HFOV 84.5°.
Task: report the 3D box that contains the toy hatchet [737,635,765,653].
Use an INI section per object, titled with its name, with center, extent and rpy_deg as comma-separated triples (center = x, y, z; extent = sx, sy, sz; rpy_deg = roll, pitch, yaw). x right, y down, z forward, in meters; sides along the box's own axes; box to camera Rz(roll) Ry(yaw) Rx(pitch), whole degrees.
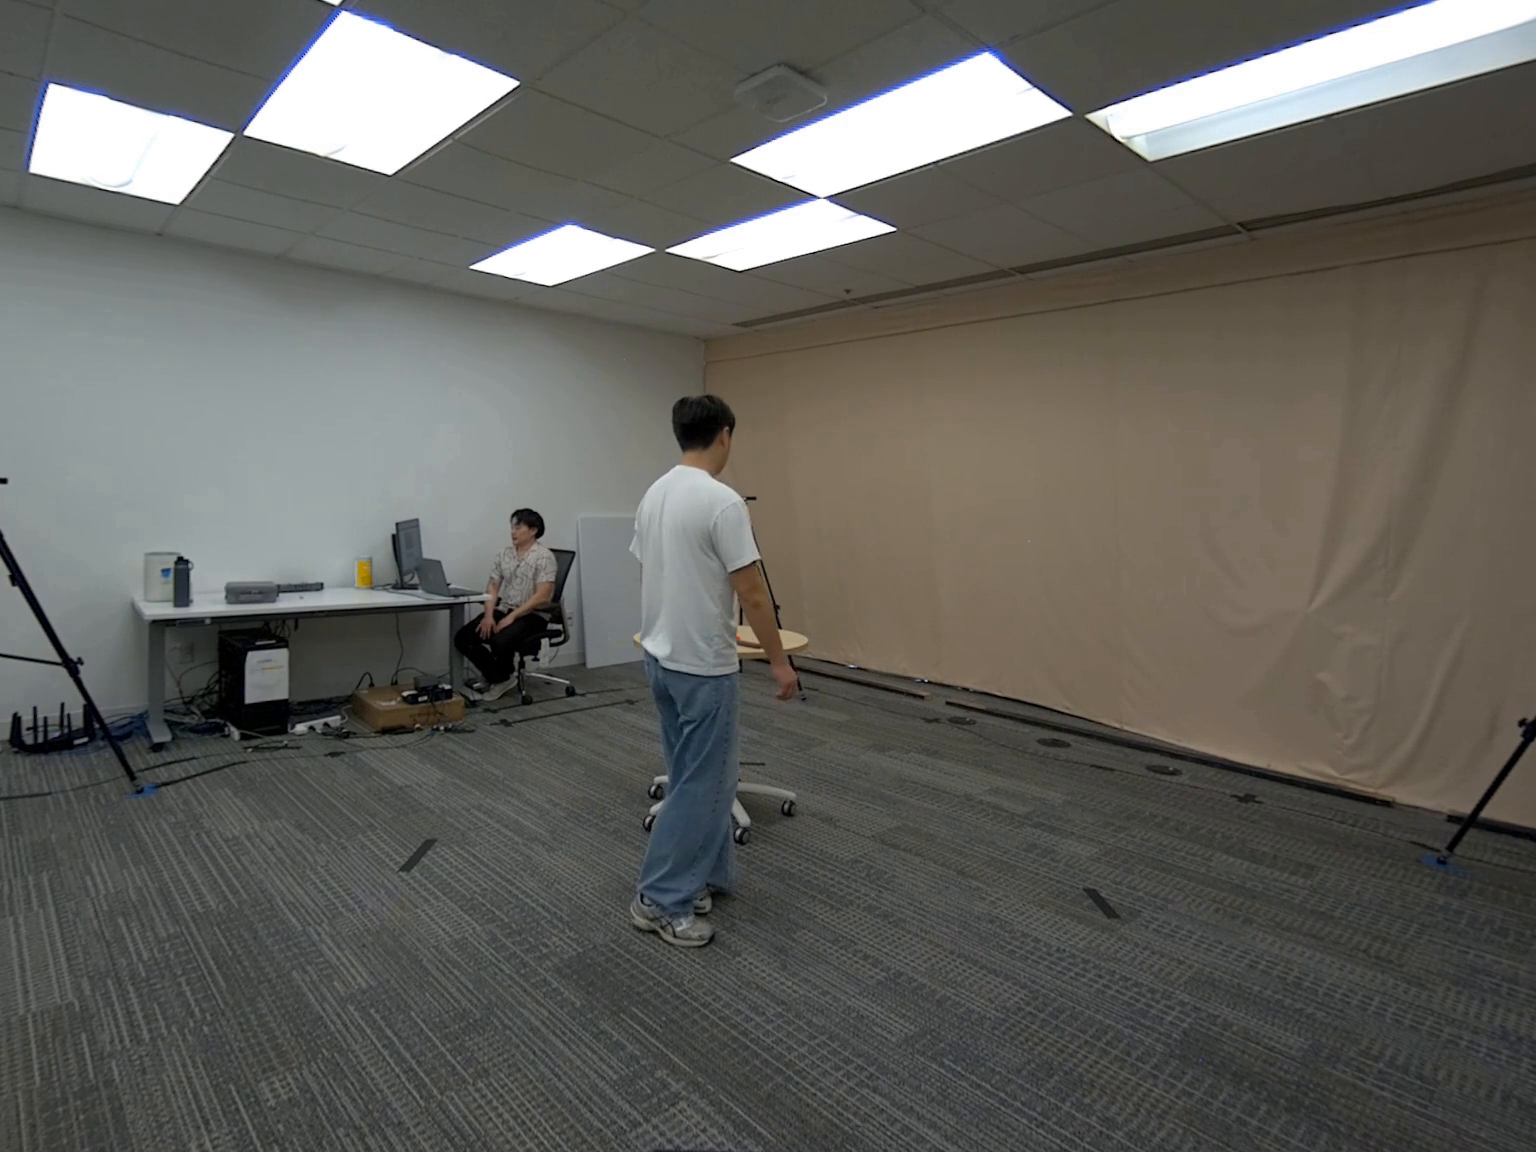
[toy hatchet]
center = -0.116, 0.277, 3.543
extent = 0.277, 0.029, 0.128
rpy_deg = 7, 3, 39
